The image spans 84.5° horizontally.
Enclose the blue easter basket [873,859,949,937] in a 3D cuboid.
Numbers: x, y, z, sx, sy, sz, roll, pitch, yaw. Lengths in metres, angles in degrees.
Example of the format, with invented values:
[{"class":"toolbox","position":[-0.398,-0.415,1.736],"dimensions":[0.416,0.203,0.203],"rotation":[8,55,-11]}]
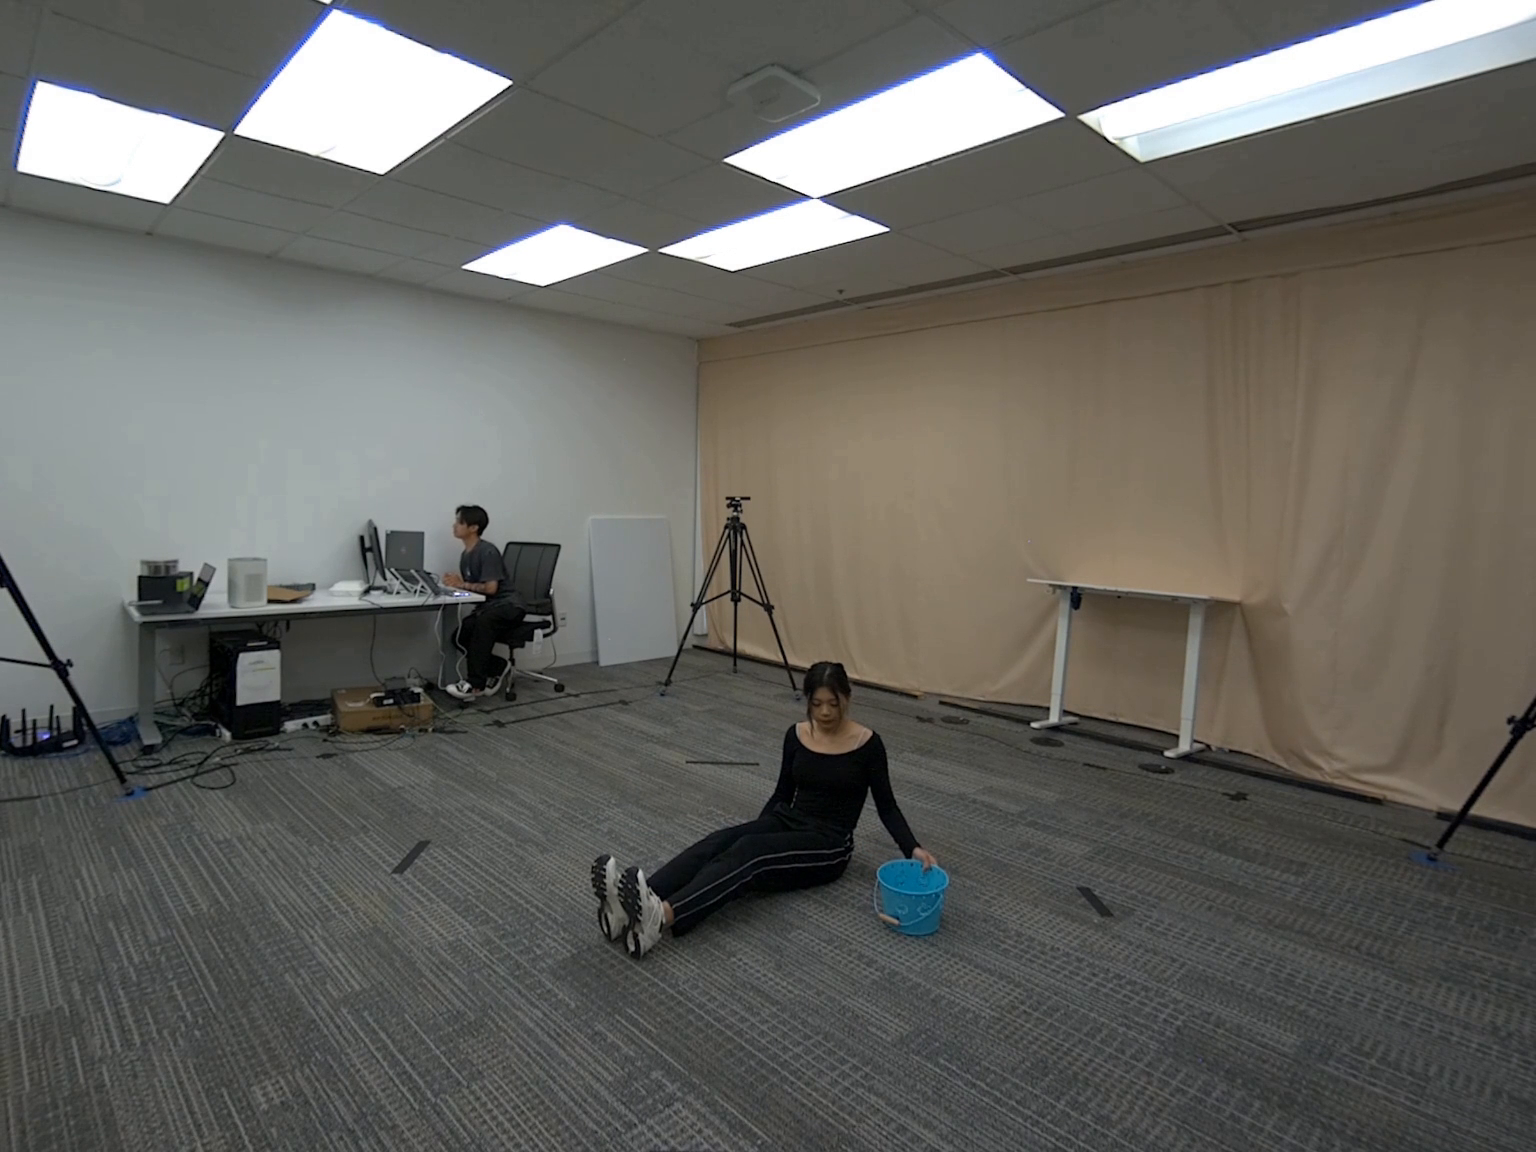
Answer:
[{"class":"blue easter basket","position":[0.458,1.062,2.780],"dimensions":[0.243,0.155,0.245],"rotation":[1,6,-1]}]
